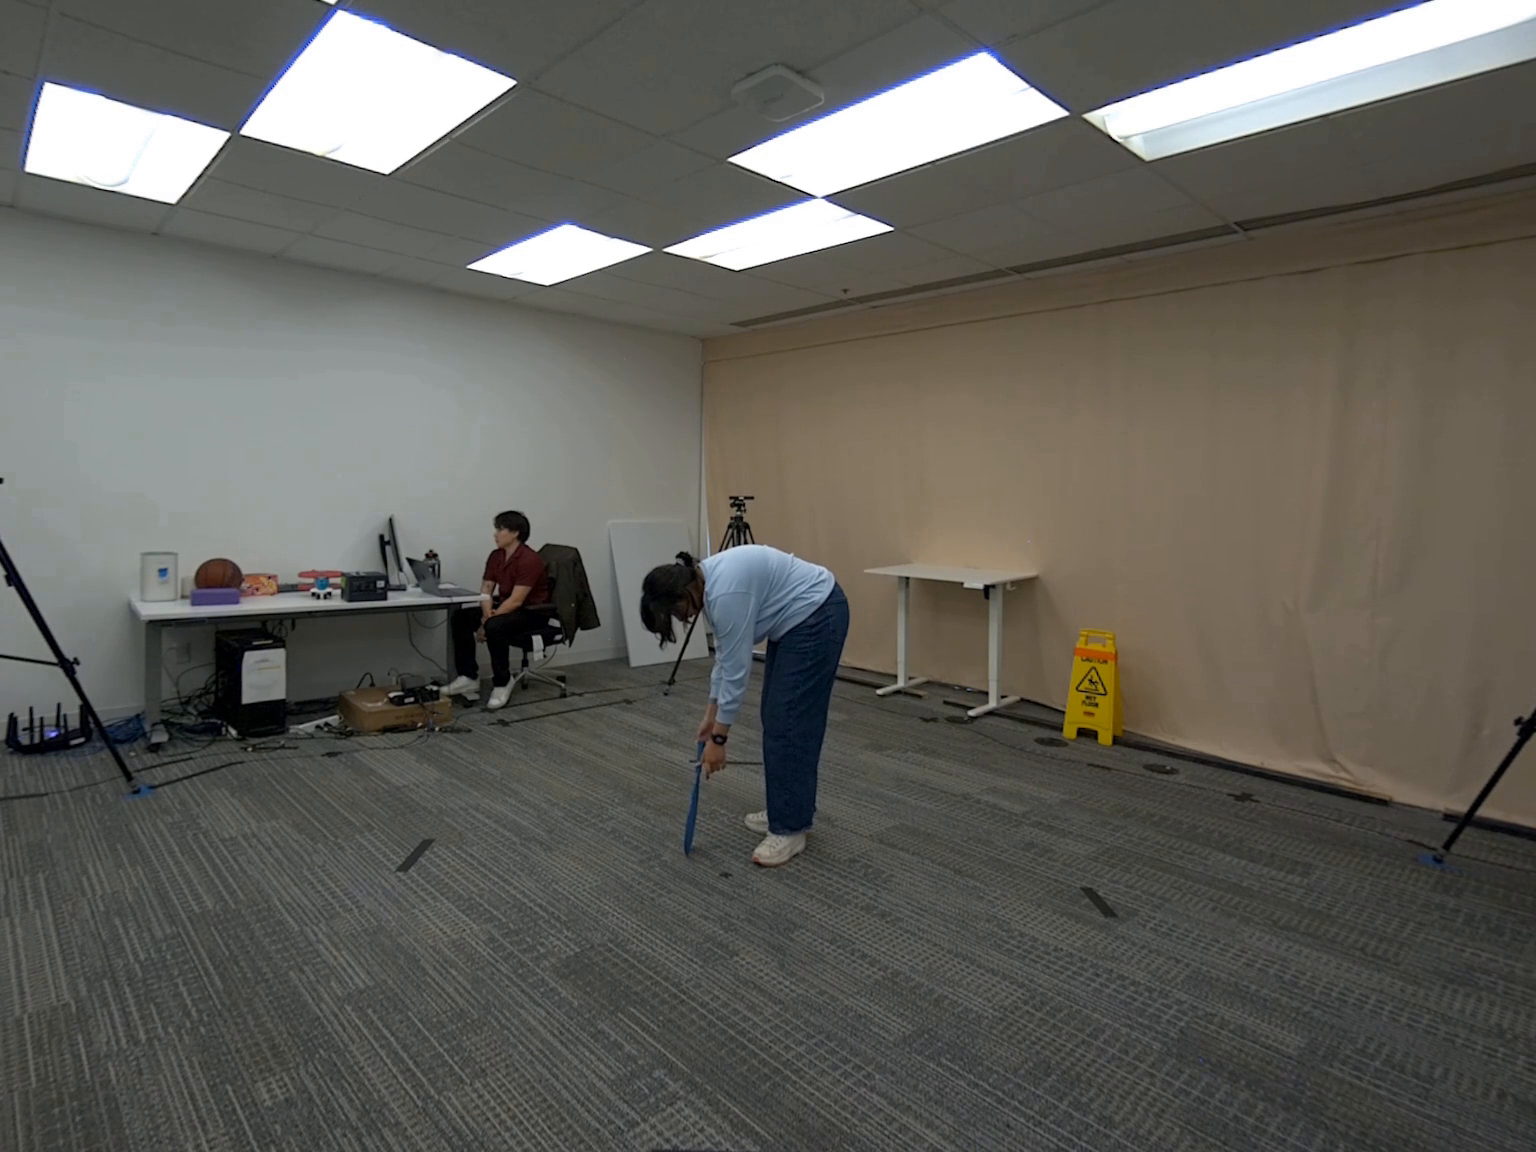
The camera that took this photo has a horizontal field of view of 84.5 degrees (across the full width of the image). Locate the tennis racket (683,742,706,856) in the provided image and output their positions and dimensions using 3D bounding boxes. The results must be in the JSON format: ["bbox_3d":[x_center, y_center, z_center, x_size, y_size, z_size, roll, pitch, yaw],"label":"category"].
[{"bbox_3d":[-0.288,0.877,3.307,0.032,0.436,0.211,6,-12,6],"label":"tennis racket"}]
